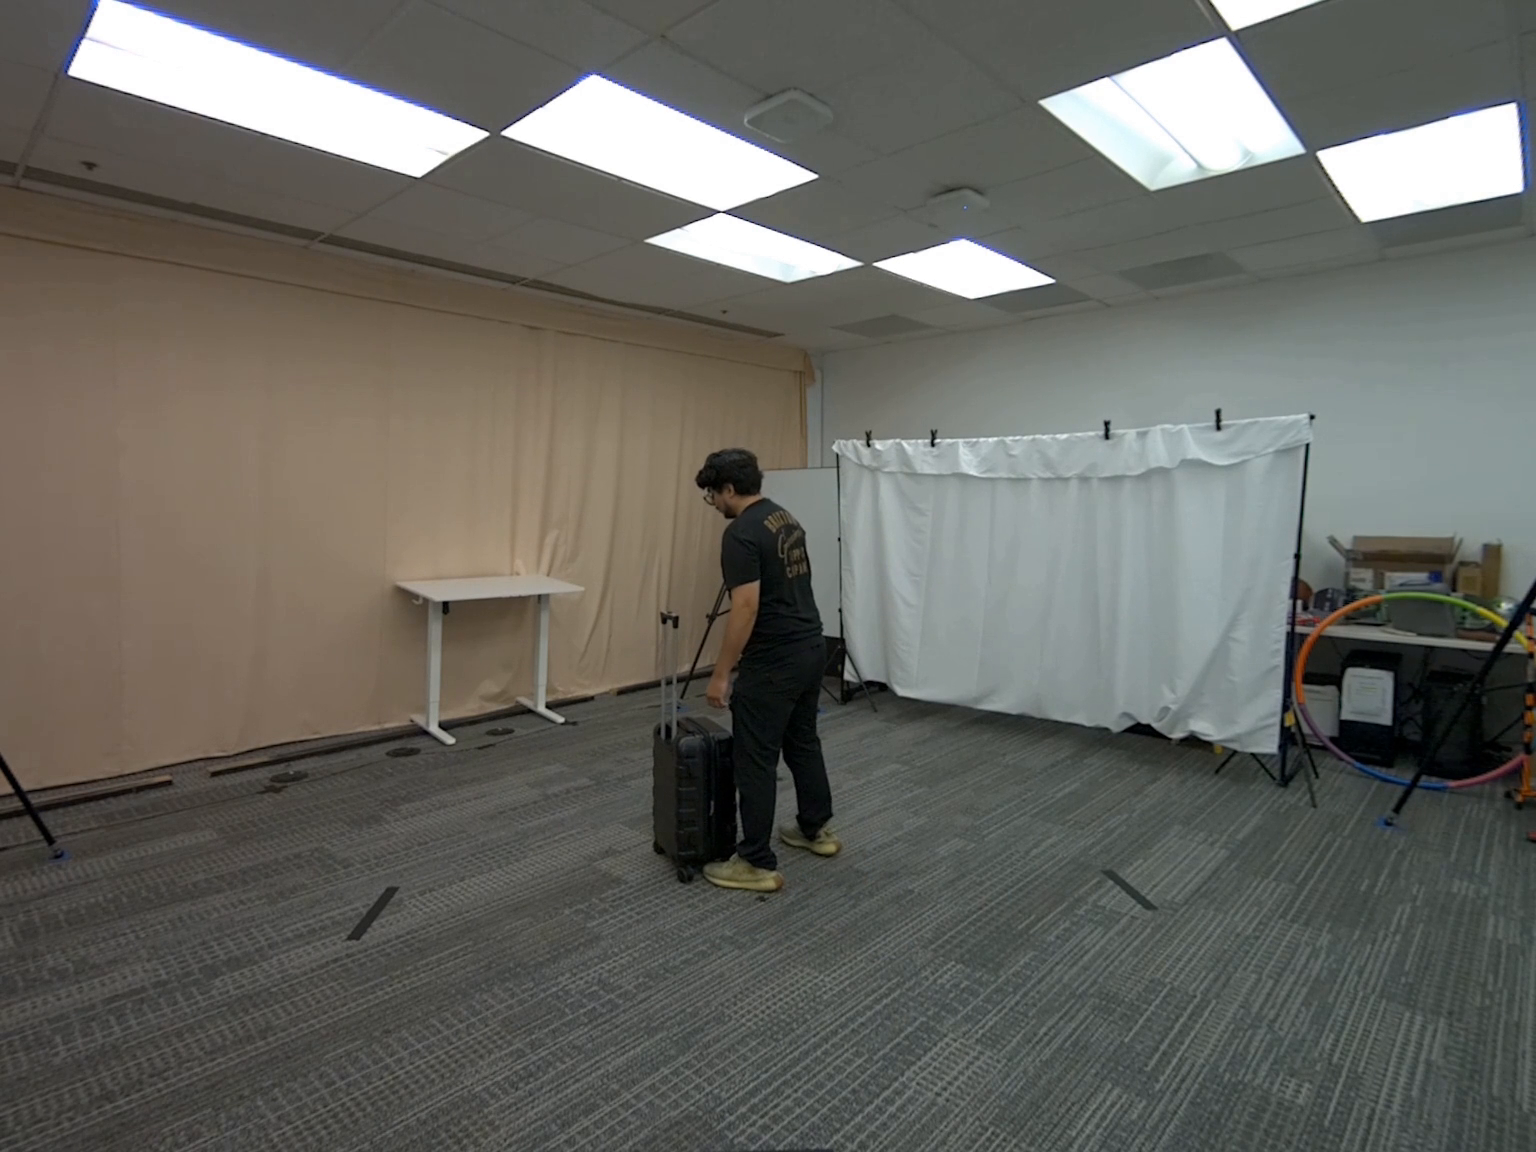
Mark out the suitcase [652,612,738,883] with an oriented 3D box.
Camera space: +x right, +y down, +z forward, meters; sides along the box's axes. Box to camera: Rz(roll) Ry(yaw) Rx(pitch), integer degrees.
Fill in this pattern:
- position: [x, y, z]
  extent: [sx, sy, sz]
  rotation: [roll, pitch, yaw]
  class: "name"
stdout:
- position: [-0.290, 0.638, 3.300]
  extent: [0.252, 0.977, 0.392]
  rotation: [0, 2, -21]
  class: "suitcase"
